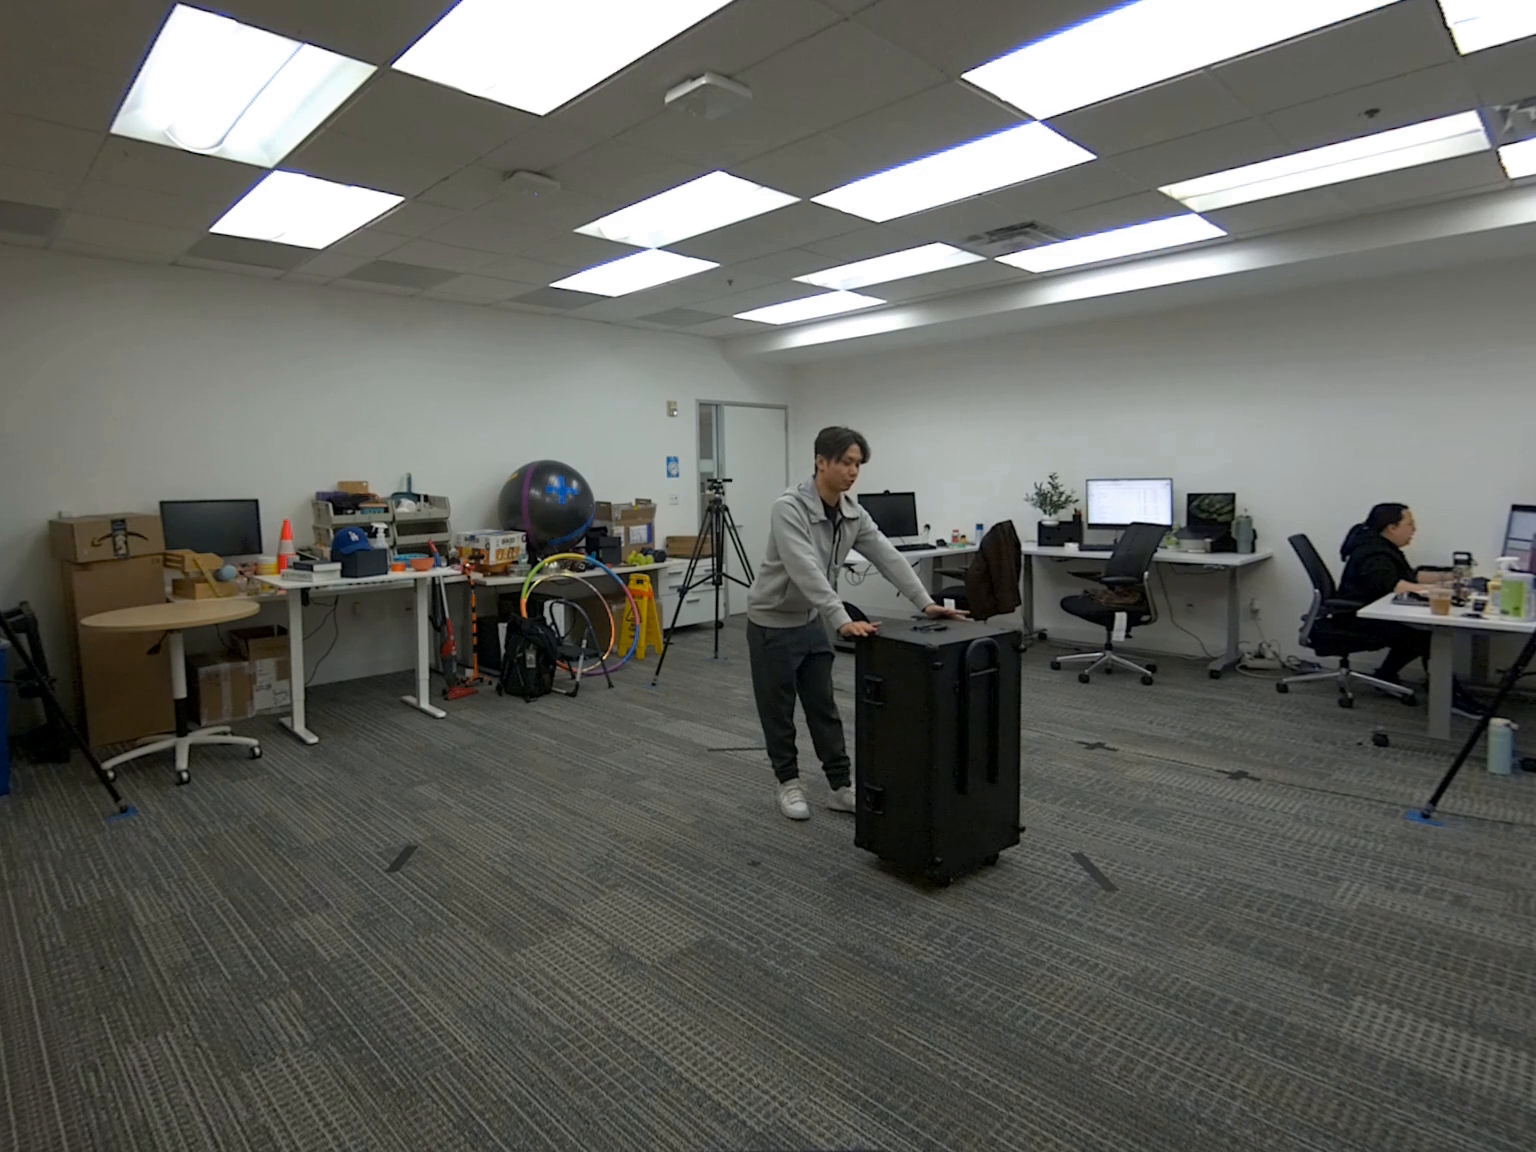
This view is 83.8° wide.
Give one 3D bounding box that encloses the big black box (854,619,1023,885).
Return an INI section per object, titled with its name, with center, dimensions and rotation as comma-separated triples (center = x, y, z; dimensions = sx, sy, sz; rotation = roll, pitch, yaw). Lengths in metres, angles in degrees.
[big black box]
center = 0.625, 0.619, 3.044
dimensions = 0.508, 0.857, 0.408
rotation = -4, 7, -38
